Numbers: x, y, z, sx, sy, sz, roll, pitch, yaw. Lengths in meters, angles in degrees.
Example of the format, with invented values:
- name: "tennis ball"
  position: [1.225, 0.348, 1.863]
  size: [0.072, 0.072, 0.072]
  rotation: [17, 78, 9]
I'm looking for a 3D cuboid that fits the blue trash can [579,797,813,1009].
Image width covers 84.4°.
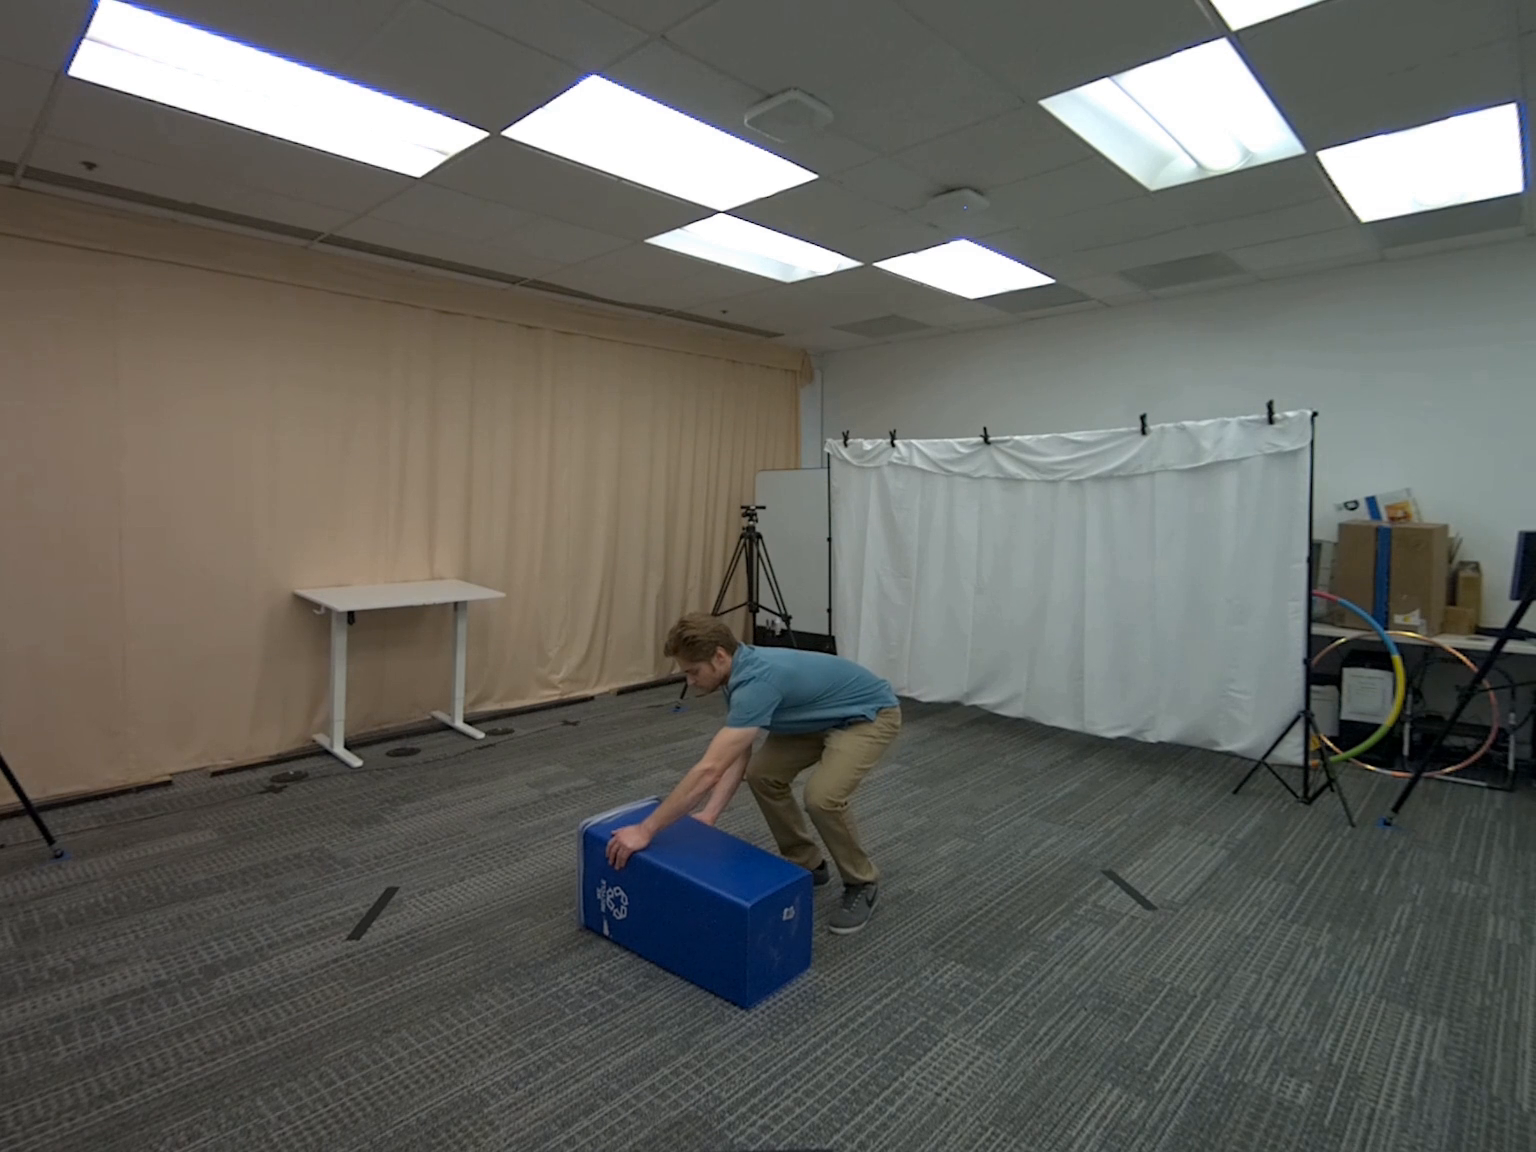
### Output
- name: "blue trash can"
  position: [-0.232, 1.014, 2.652]
  size: [0.738, 0.377, 0.363]
  rotation: [8, 8, 40]
